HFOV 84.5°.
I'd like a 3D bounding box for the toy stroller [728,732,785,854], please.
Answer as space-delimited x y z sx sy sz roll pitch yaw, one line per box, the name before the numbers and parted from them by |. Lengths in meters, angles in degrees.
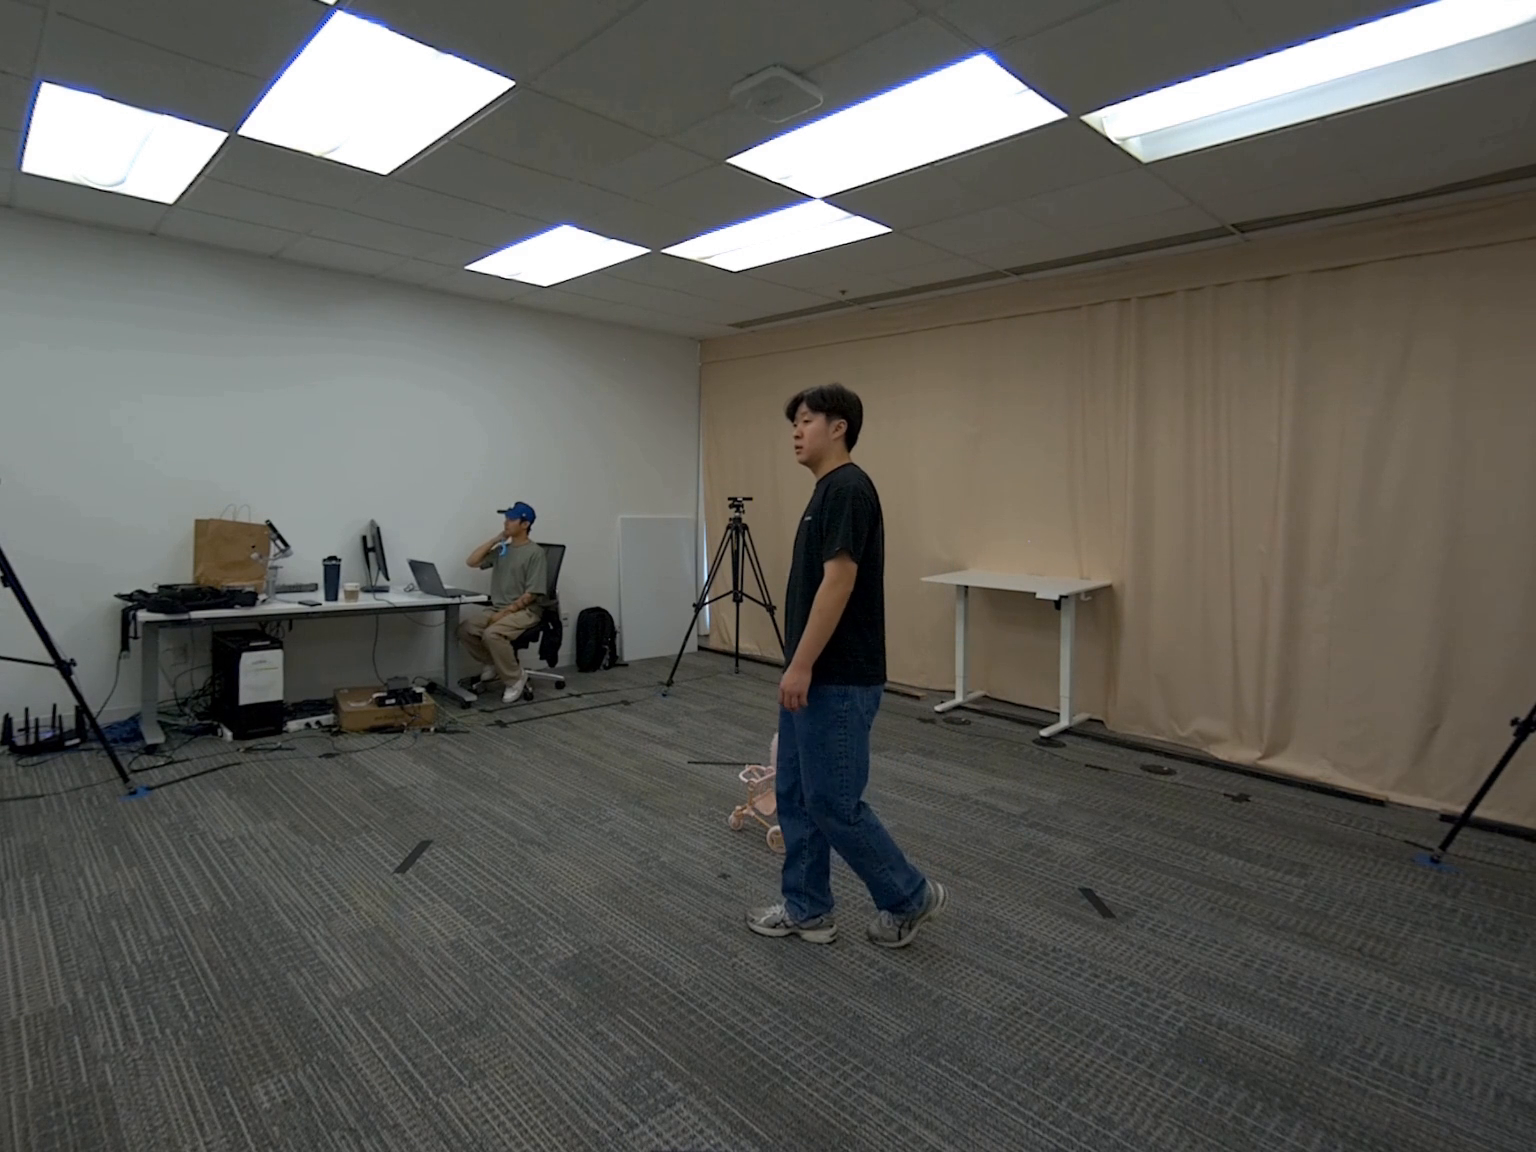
toy stroller | 0.037 0.859 3.454 0.350 0.532 0.276 22 12 27
